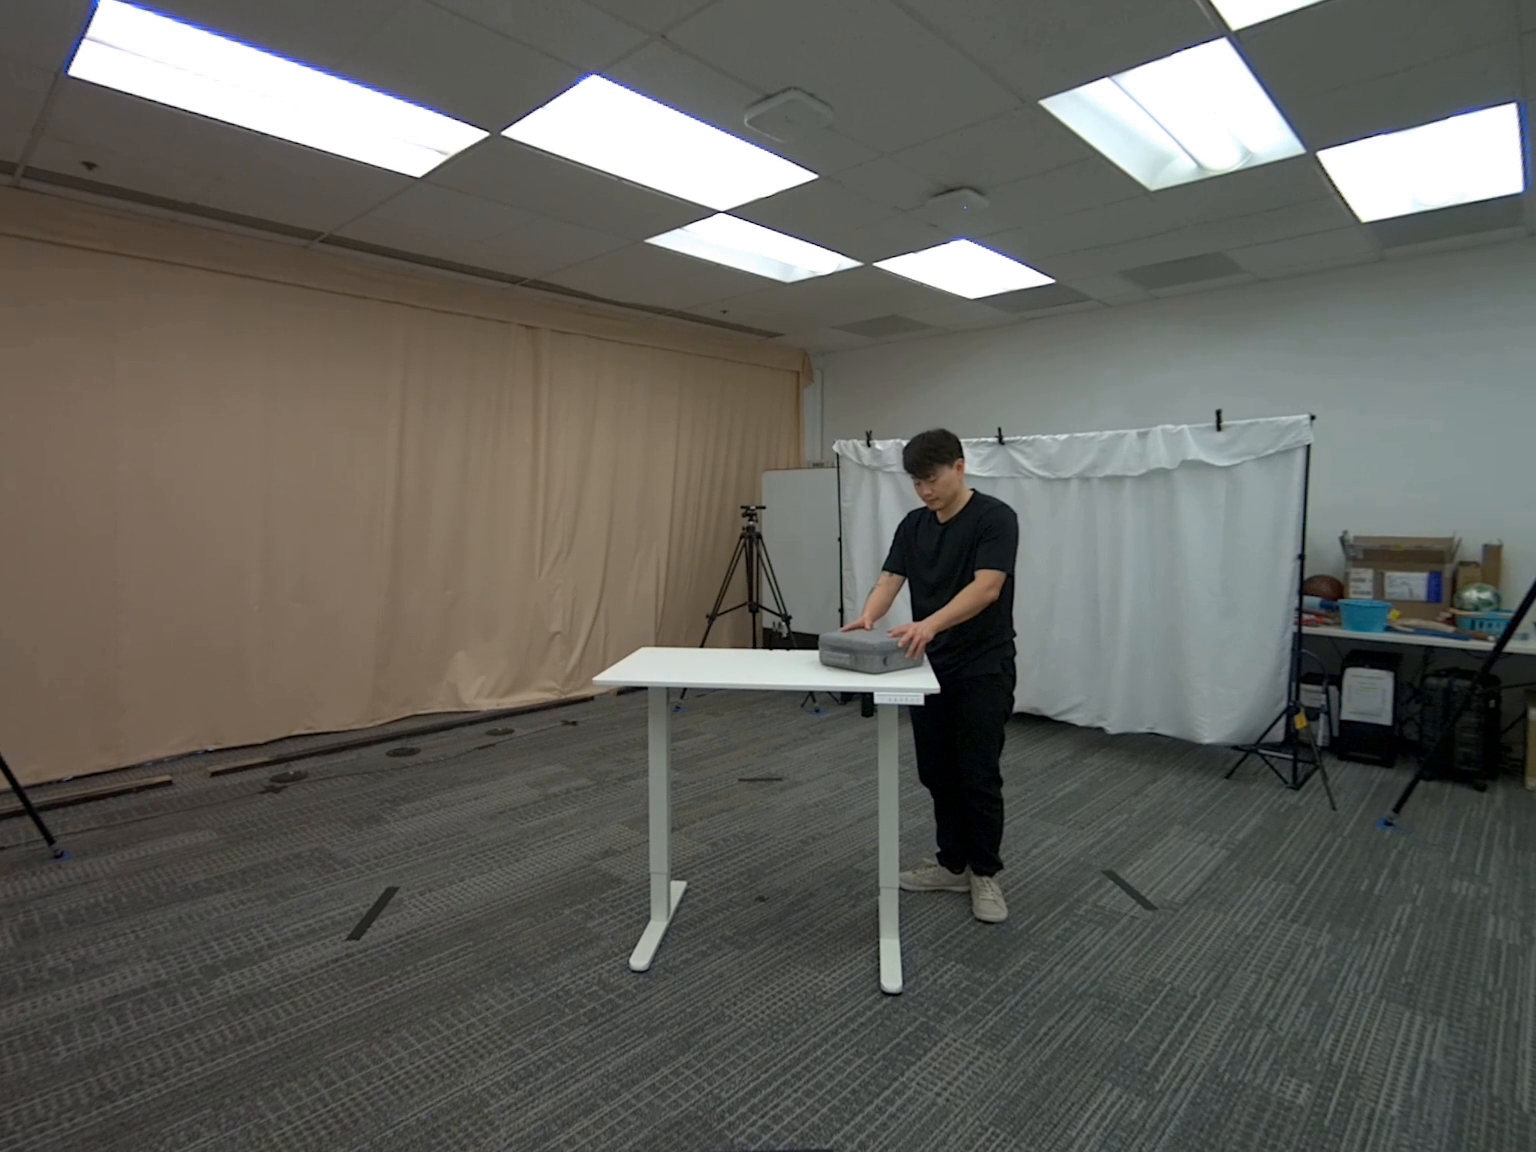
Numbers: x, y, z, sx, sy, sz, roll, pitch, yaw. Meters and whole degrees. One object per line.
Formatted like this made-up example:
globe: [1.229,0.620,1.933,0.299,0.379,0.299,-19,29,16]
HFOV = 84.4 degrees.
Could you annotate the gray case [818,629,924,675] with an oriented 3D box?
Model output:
gray case: [0.327,0.235,2.662,0.253,0.104,0.265,-4,7,-38]
